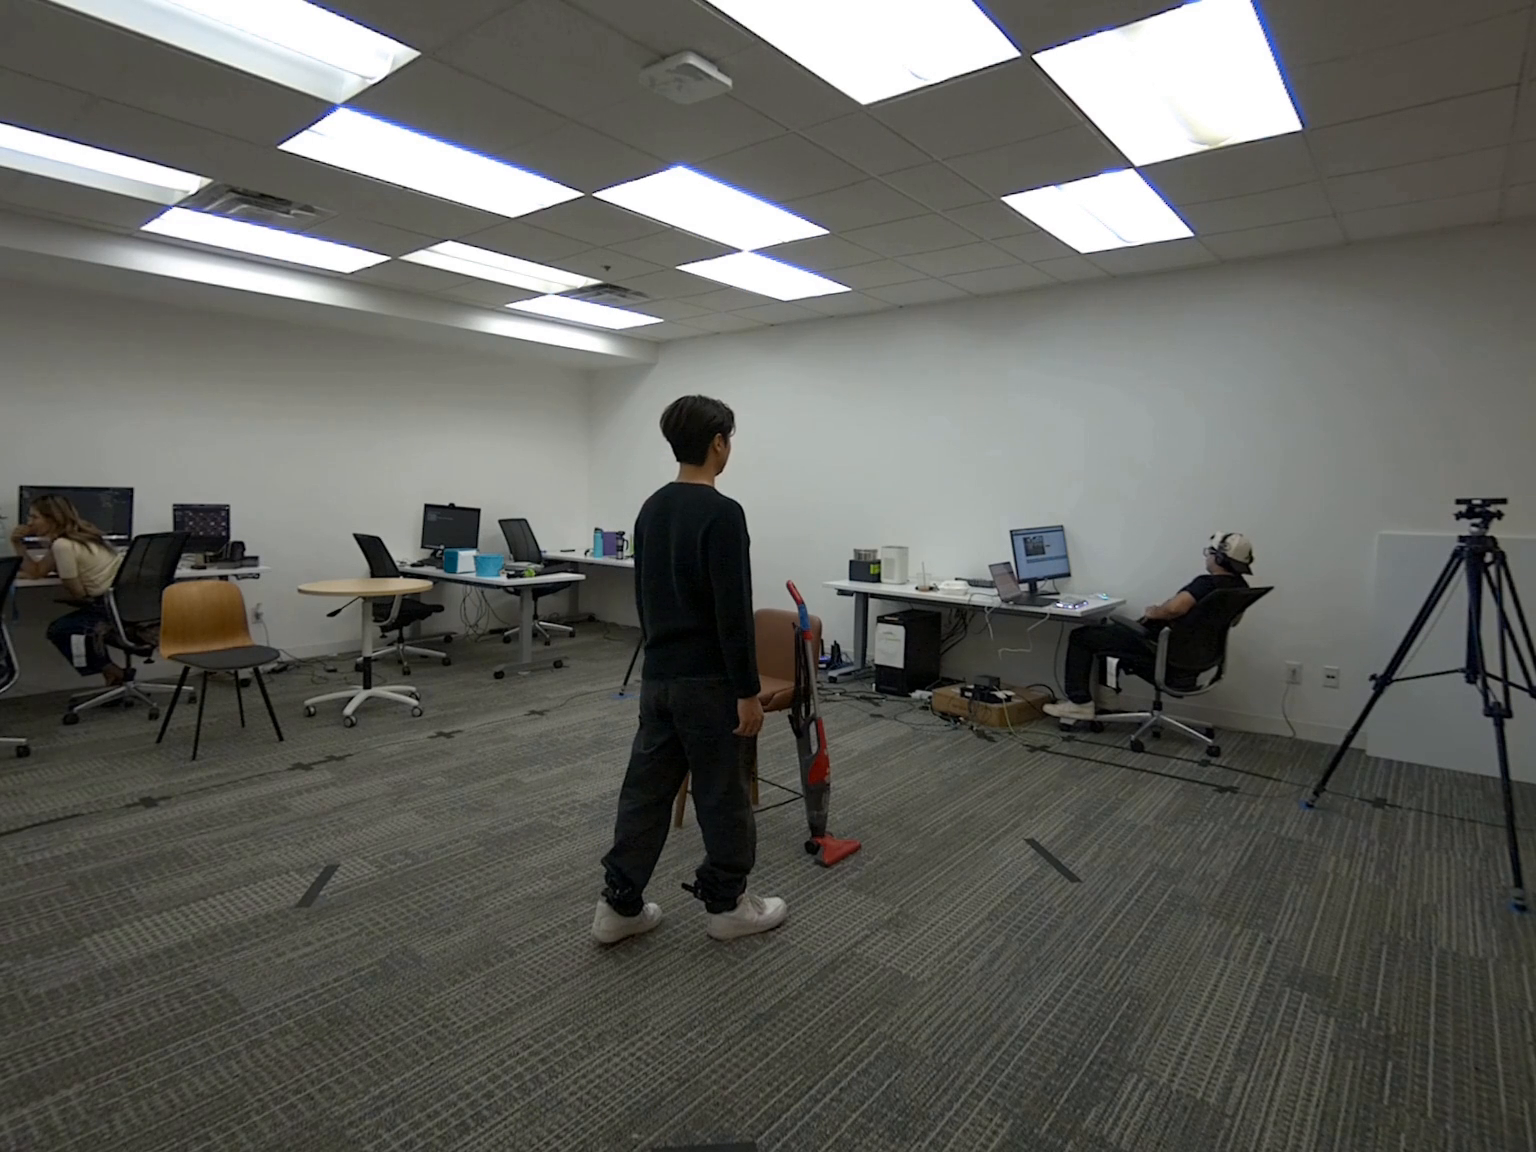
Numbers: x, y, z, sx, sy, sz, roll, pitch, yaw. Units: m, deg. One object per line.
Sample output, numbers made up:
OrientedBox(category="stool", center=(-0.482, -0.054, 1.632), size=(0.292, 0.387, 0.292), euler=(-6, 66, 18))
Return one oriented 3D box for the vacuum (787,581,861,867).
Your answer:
OrientedBox(category="vacuum", center=(0.156, 0.547, 3.333), size=(0.147, 1.055, 0.245), euler=(-13, -6, 37))
